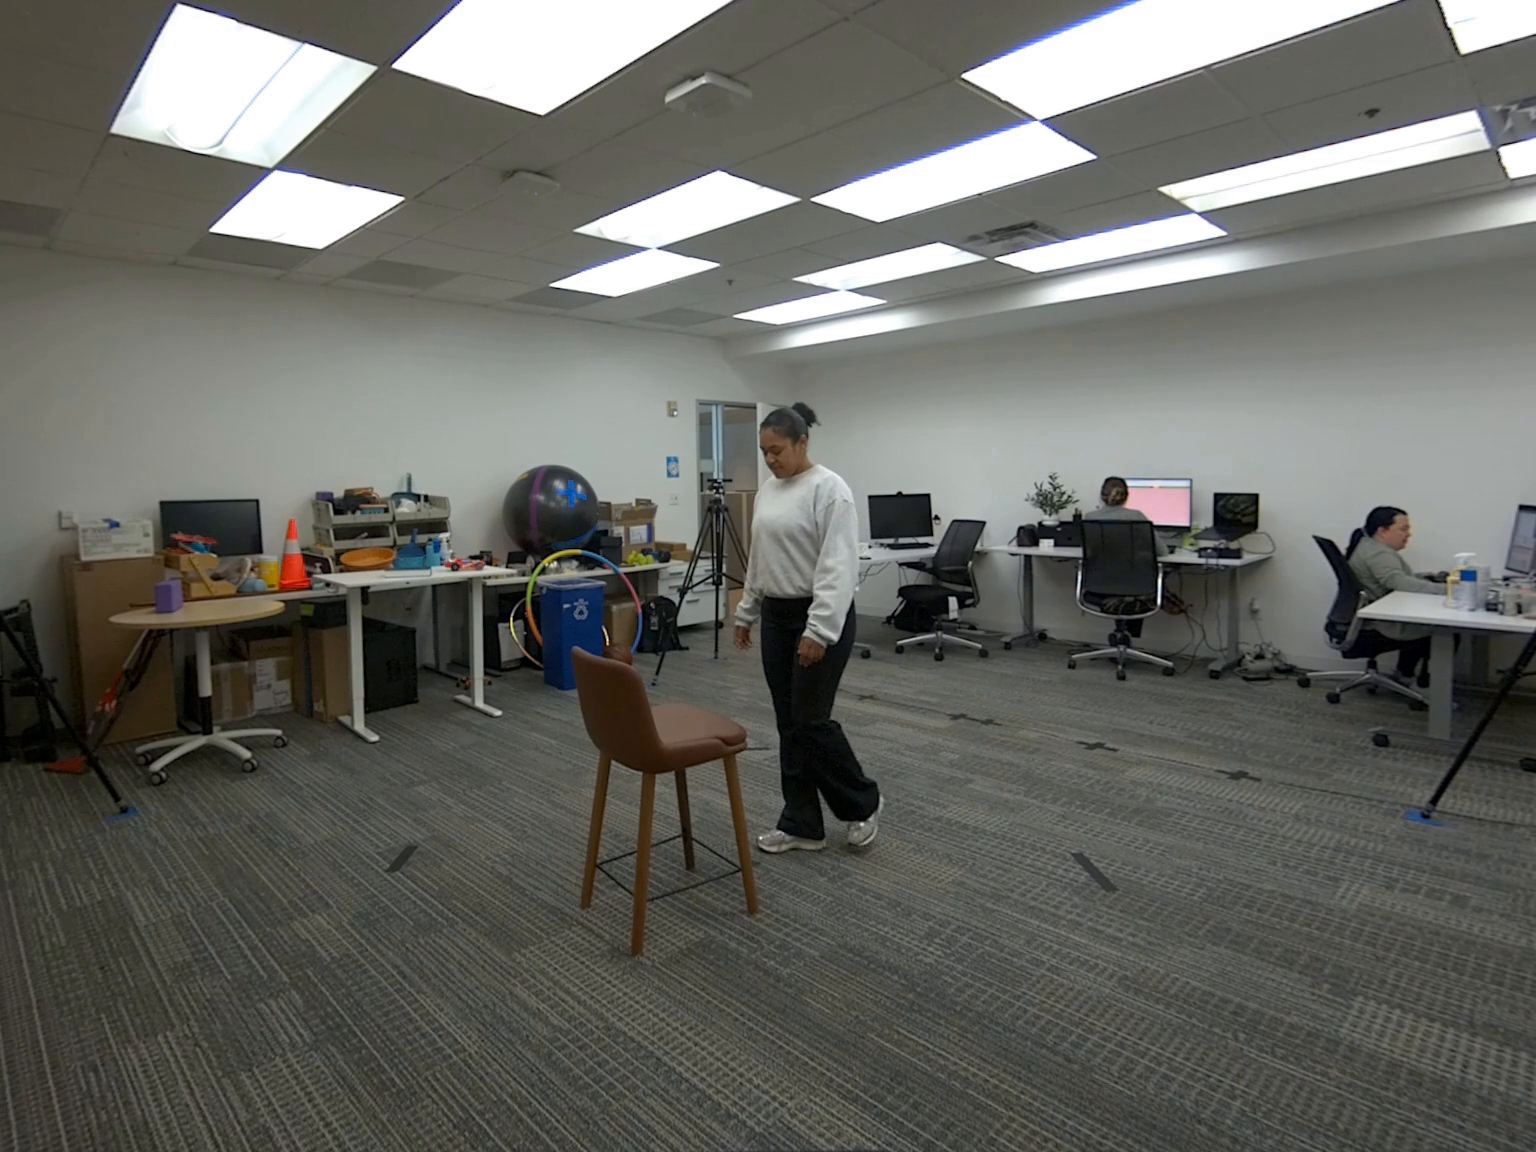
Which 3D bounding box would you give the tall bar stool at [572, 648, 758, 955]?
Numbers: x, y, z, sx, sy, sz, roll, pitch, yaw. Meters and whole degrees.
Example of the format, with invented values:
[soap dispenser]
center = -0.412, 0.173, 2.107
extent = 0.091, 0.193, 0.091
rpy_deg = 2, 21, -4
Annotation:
[tall bar stool]
center = -0.341, 0.655, 2.760
extent = 0.456, 0.885, 0.470
rpy_deg = -7, 7, -36
